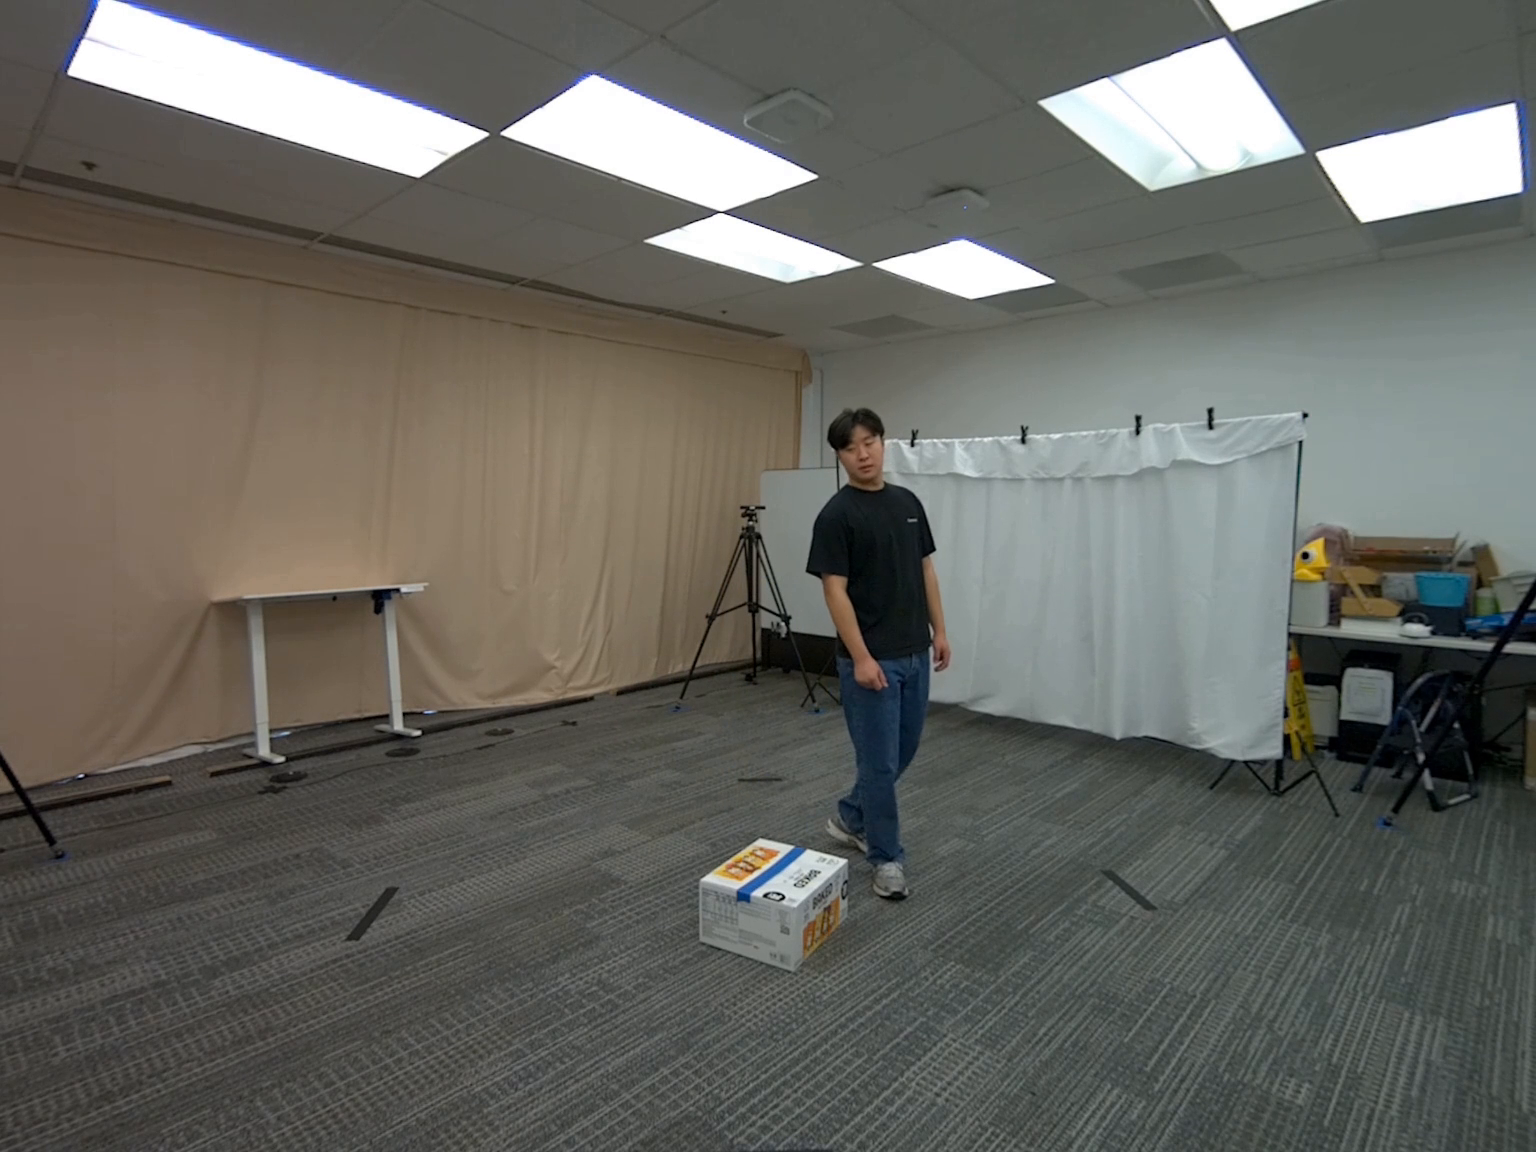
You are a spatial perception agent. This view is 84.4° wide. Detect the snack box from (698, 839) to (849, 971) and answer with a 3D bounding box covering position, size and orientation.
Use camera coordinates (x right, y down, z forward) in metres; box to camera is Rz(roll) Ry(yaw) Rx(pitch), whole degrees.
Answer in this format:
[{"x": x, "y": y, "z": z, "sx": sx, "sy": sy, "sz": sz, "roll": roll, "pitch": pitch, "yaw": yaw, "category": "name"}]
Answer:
[{"x": 0.028, "y": 1.062, "z": 2.753, "sx": 0.350, "sy": 0.205, "sz": 0.394, "roll": 2, "pitch": 5, "yaw": 30, "category": "snack box"}]
